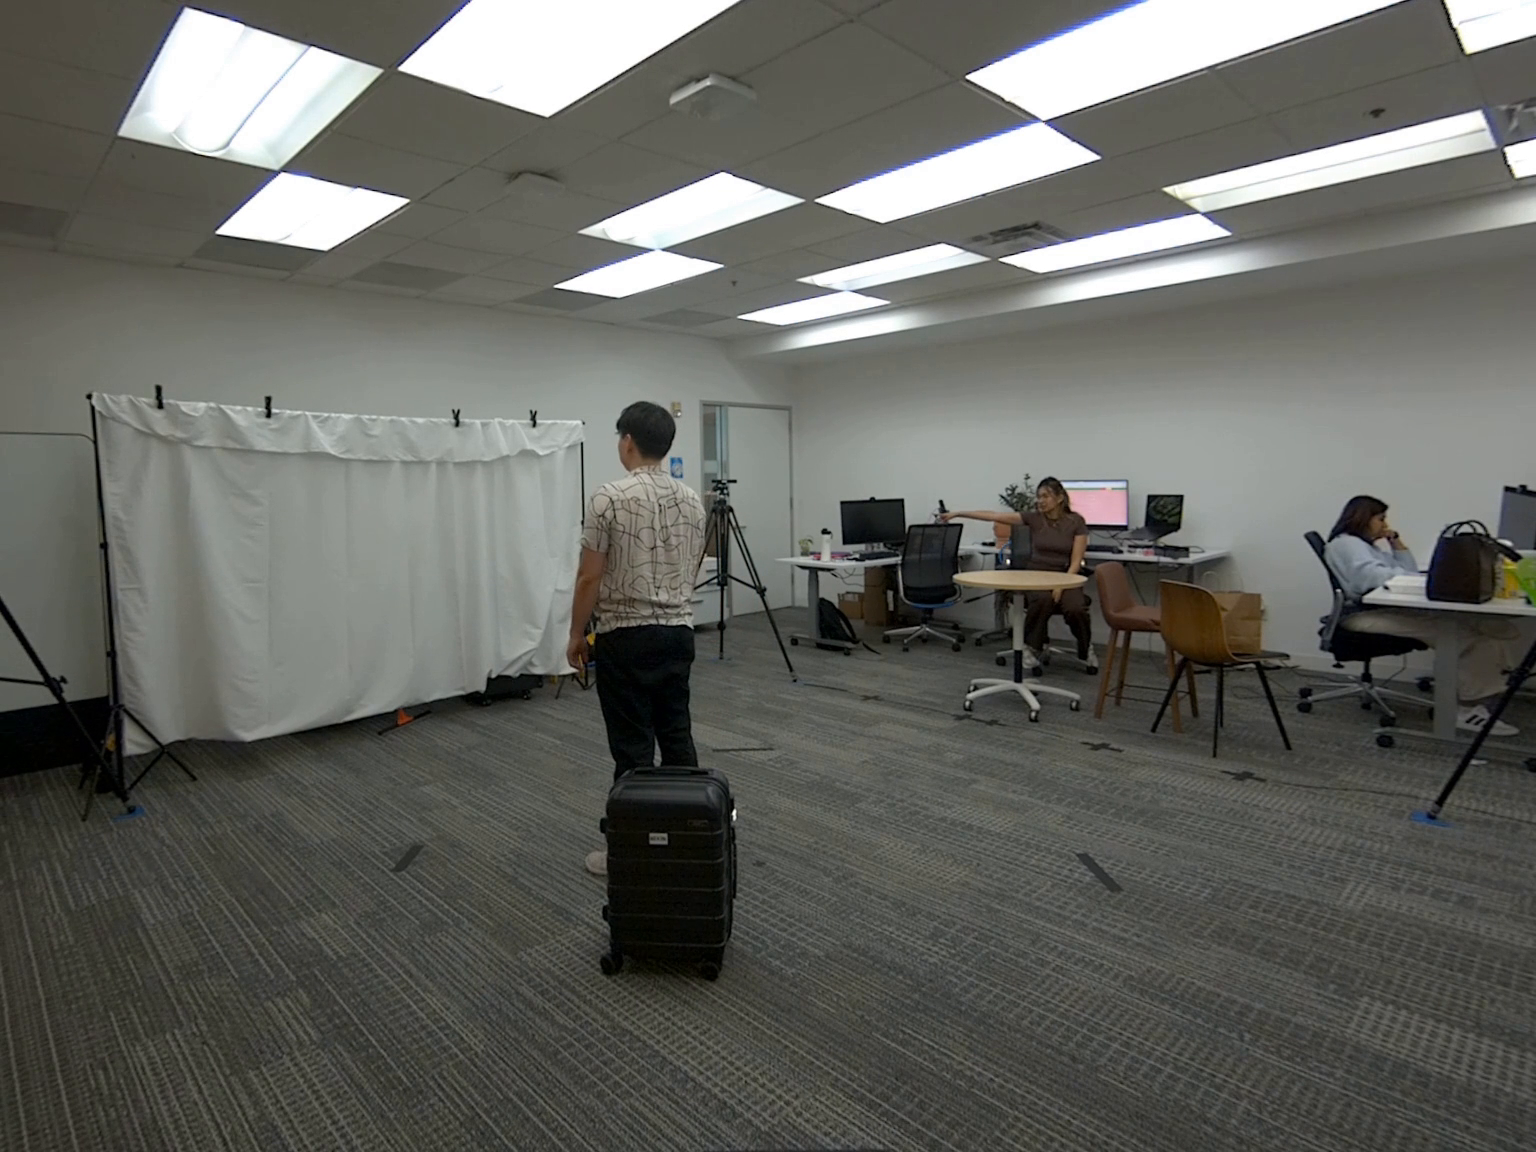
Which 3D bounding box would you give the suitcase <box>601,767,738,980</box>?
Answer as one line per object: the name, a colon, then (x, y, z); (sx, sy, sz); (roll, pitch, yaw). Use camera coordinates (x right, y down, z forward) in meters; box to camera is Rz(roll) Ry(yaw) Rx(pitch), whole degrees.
suitcase: (-0.279, 0.848, 2.504); (0.379, 0.547, 0.247); (1, 4, 8)
